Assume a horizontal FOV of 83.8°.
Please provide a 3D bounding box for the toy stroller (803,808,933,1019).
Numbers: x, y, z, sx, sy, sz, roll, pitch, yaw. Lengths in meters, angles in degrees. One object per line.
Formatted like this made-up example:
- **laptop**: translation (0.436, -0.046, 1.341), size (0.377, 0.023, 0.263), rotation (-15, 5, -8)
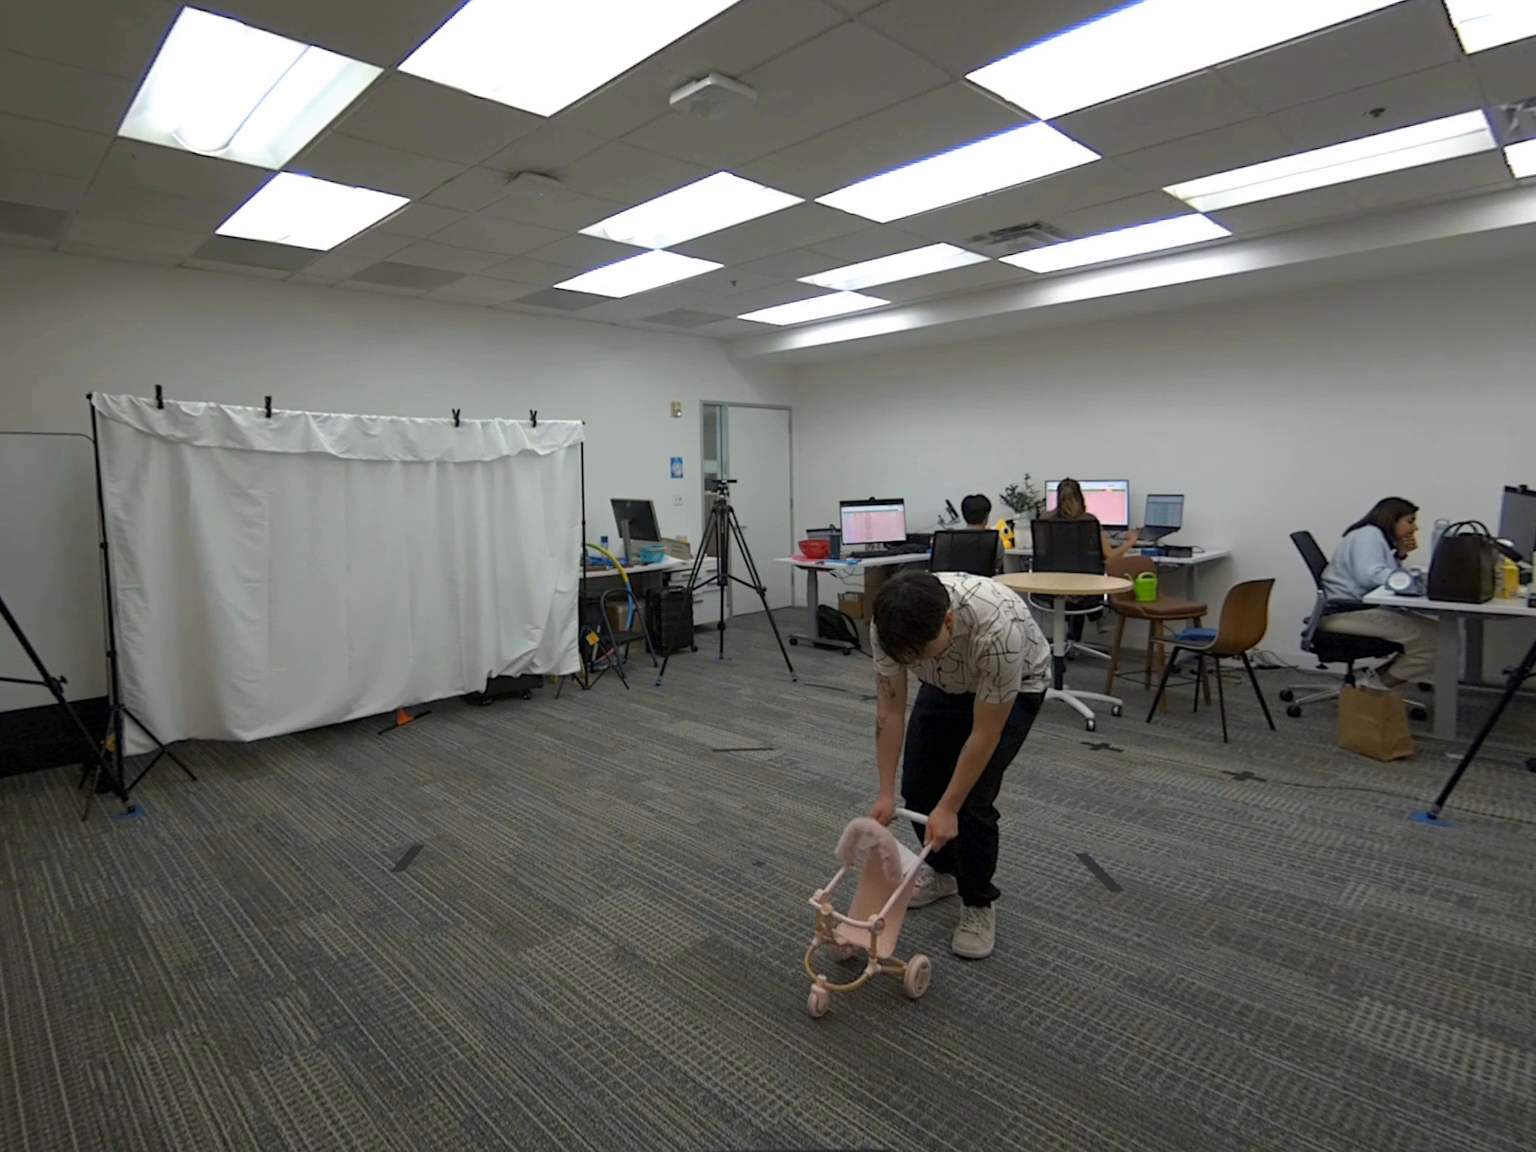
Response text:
- **toy stroller**: translation (0.273, 0.907, 2.340), size (0.330, 0.537, 0.290), rotation (17, -8, -38)
